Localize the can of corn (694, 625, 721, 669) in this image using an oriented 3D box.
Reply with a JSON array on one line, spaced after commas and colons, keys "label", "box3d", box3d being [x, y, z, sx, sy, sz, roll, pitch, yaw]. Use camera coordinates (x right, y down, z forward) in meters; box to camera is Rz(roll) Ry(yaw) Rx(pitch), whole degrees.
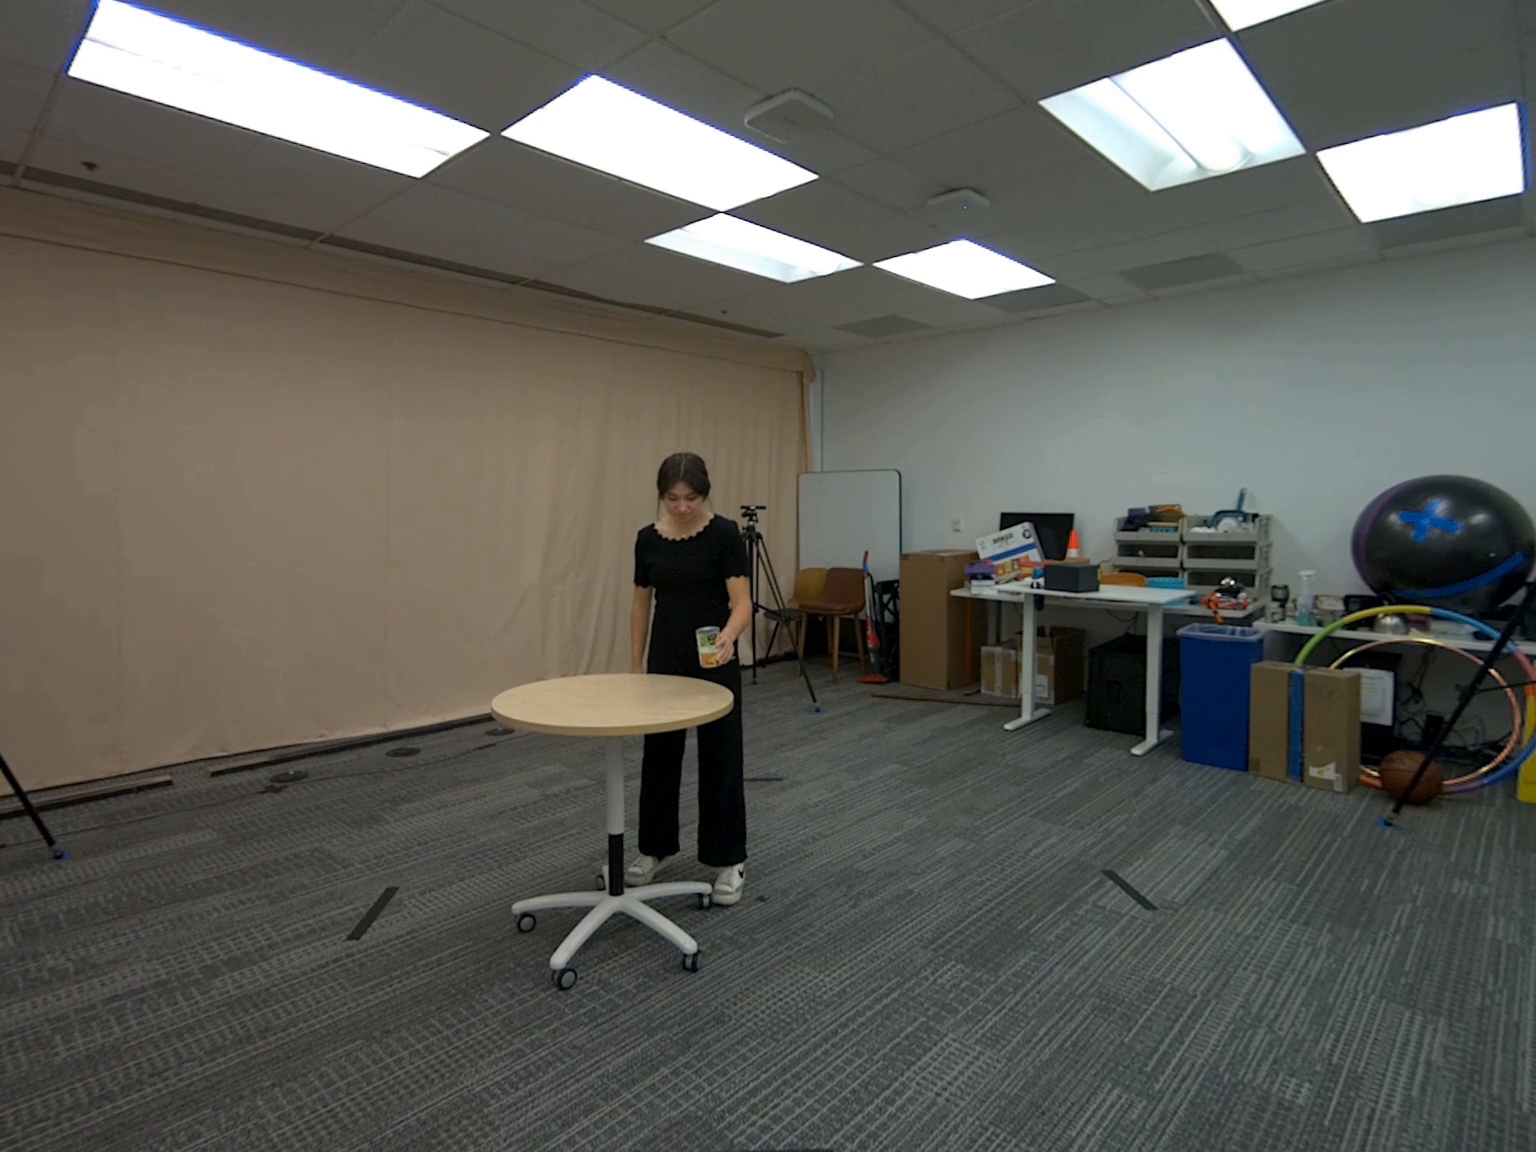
[{"label": "can of corn", "box3d": [-0.191, 0.223, 2.664, 0.074, 0.110, 0.074, -5, 7, -1]}]
